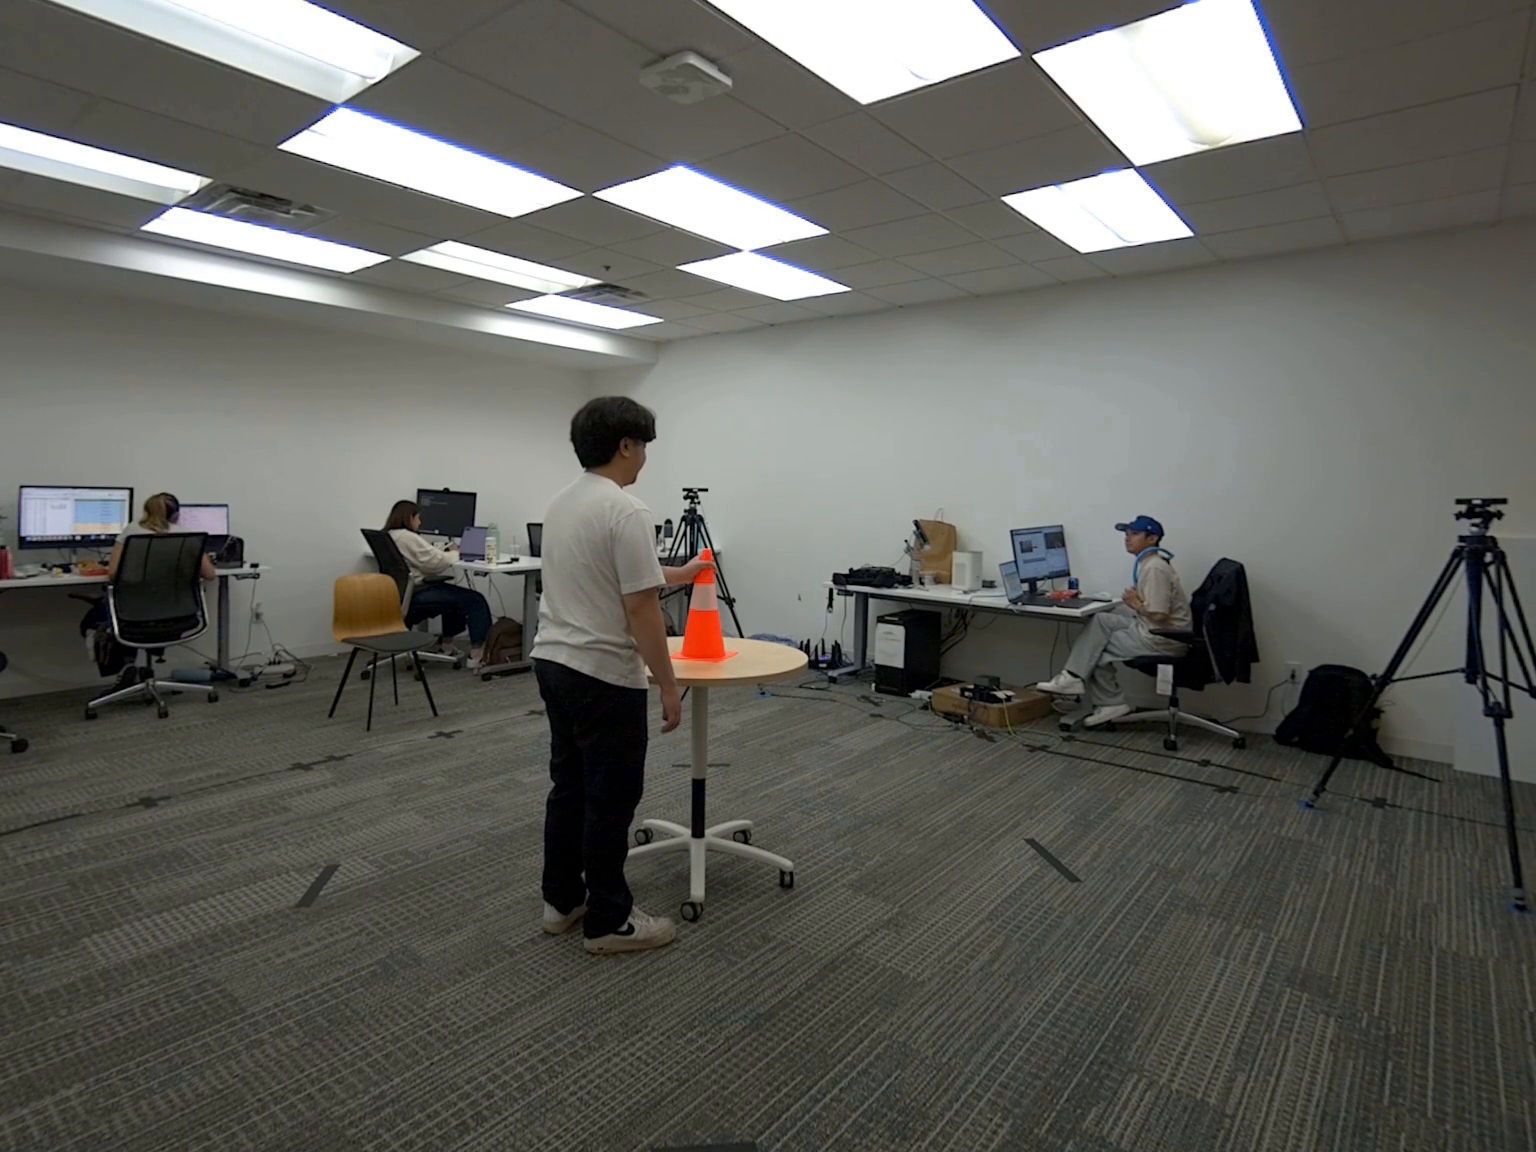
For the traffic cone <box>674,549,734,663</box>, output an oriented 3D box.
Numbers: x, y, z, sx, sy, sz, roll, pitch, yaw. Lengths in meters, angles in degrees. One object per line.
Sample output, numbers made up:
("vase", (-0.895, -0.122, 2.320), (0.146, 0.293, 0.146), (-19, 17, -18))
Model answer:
("traffic cone", (-0.230, 0.094, 3.016), (0.210, 0.382, 0.199), (4, 4, 23))
